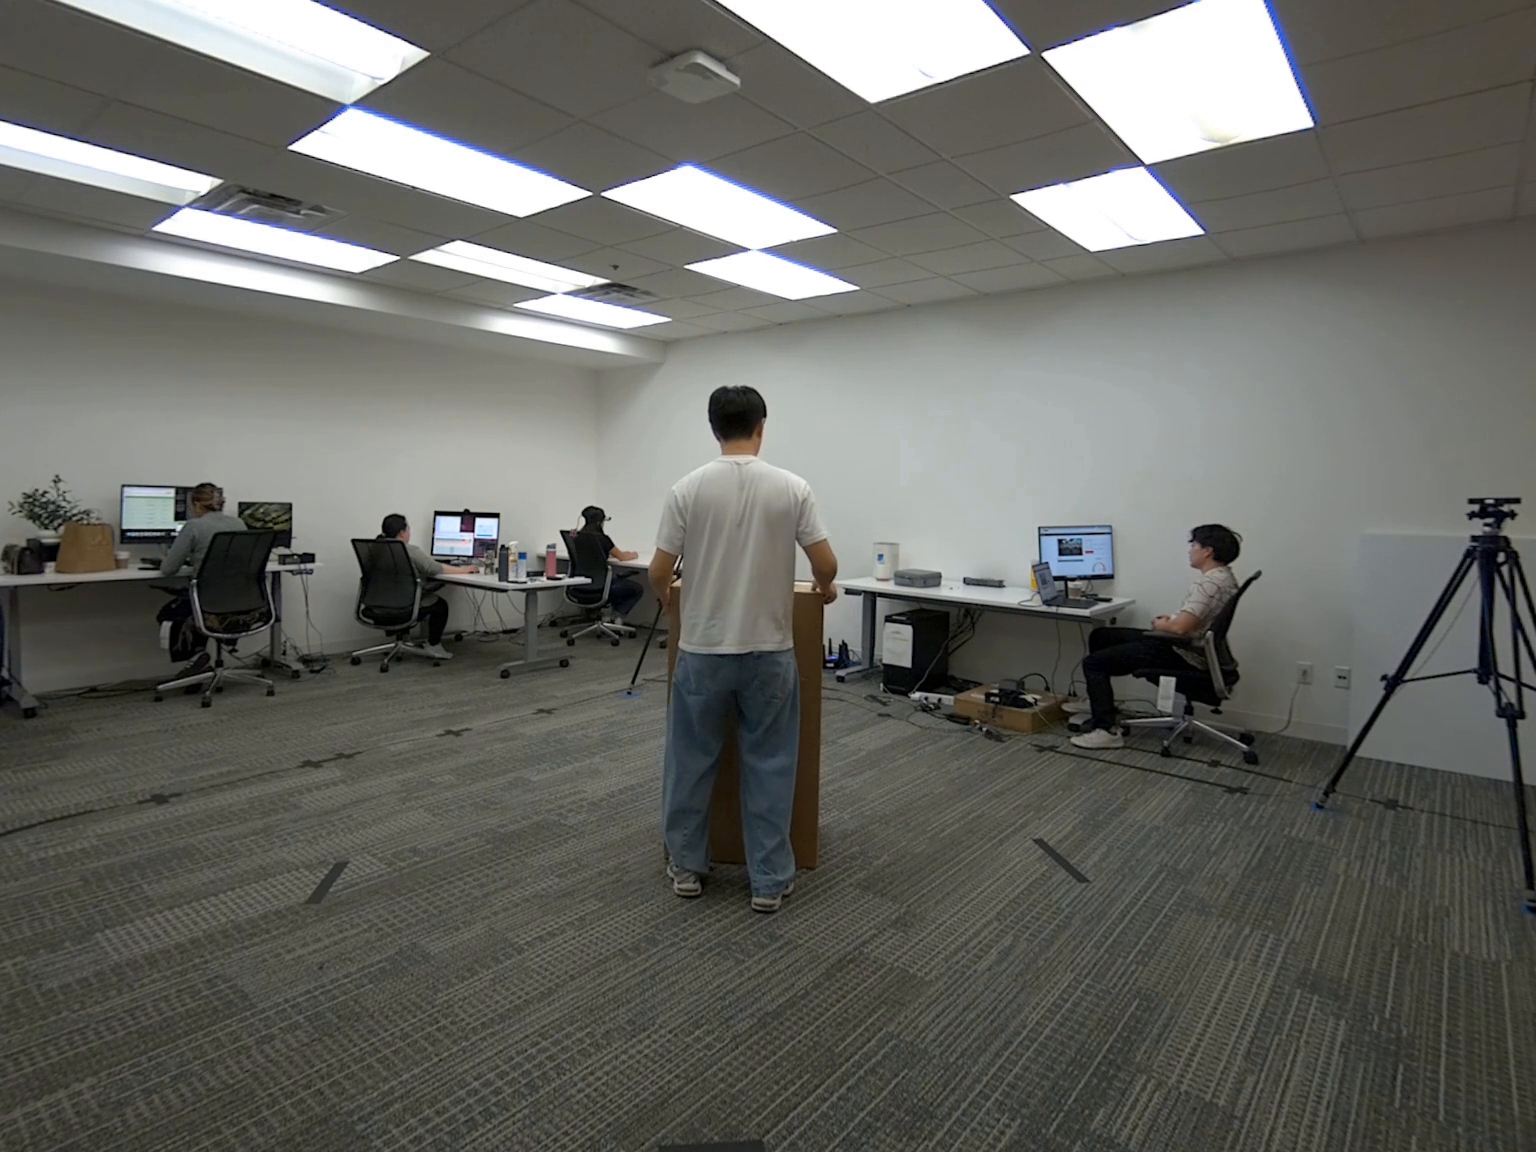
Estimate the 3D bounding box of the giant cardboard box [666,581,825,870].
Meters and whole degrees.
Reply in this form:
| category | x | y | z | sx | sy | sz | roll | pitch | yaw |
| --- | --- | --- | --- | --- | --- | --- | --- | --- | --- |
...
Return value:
| category | x | y | z | sx | sy | sz | roll | pitch | yaw |
| --- | --- | --- | --- | --- | --- | --- | --- | --- | --- |
| giant cardboard box | -0.088 | 0.535 | 3.338 | 0.581 | 1.023 | 0.424 | 2 | 2 | 5 |
